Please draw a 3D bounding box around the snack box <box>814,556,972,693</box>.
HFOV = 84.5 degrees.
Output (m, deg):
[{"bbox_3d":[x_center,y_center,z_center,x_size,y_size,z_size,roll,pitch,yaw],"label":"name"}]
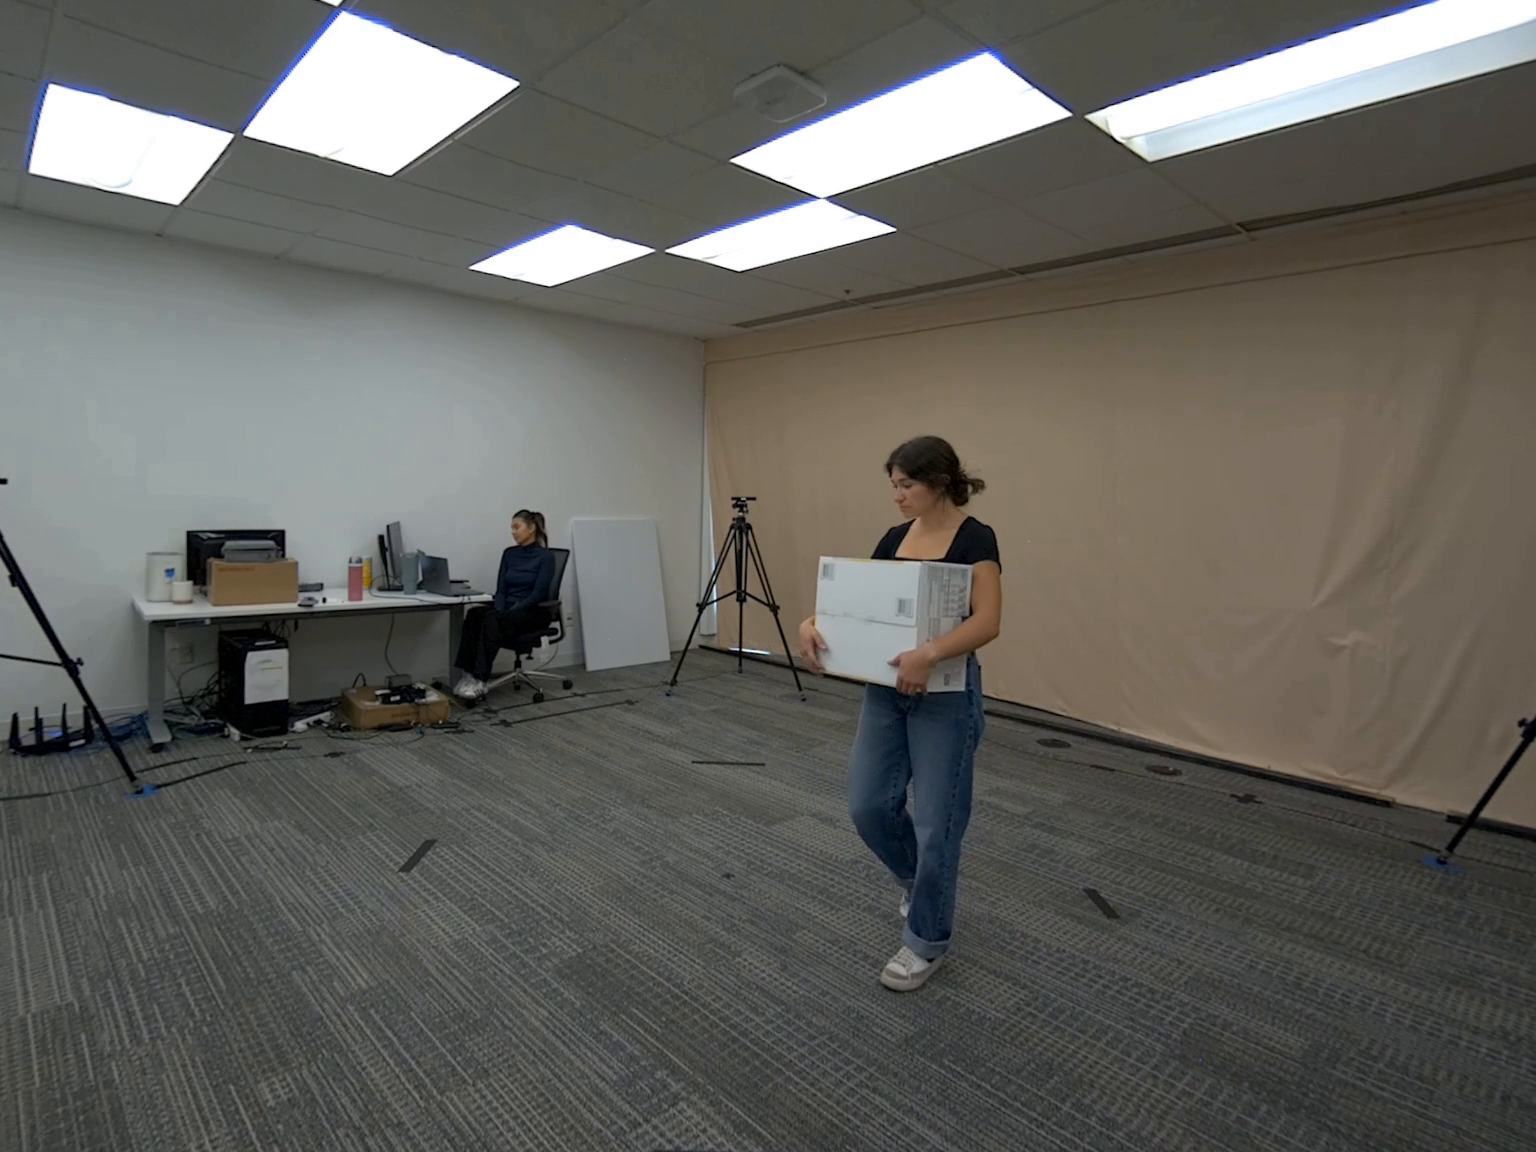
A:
[{"bbox_3d":[0.333,0.128,2.382,0.201,0.341,0.414,5,-2,-37],"label":"snack box"}]
